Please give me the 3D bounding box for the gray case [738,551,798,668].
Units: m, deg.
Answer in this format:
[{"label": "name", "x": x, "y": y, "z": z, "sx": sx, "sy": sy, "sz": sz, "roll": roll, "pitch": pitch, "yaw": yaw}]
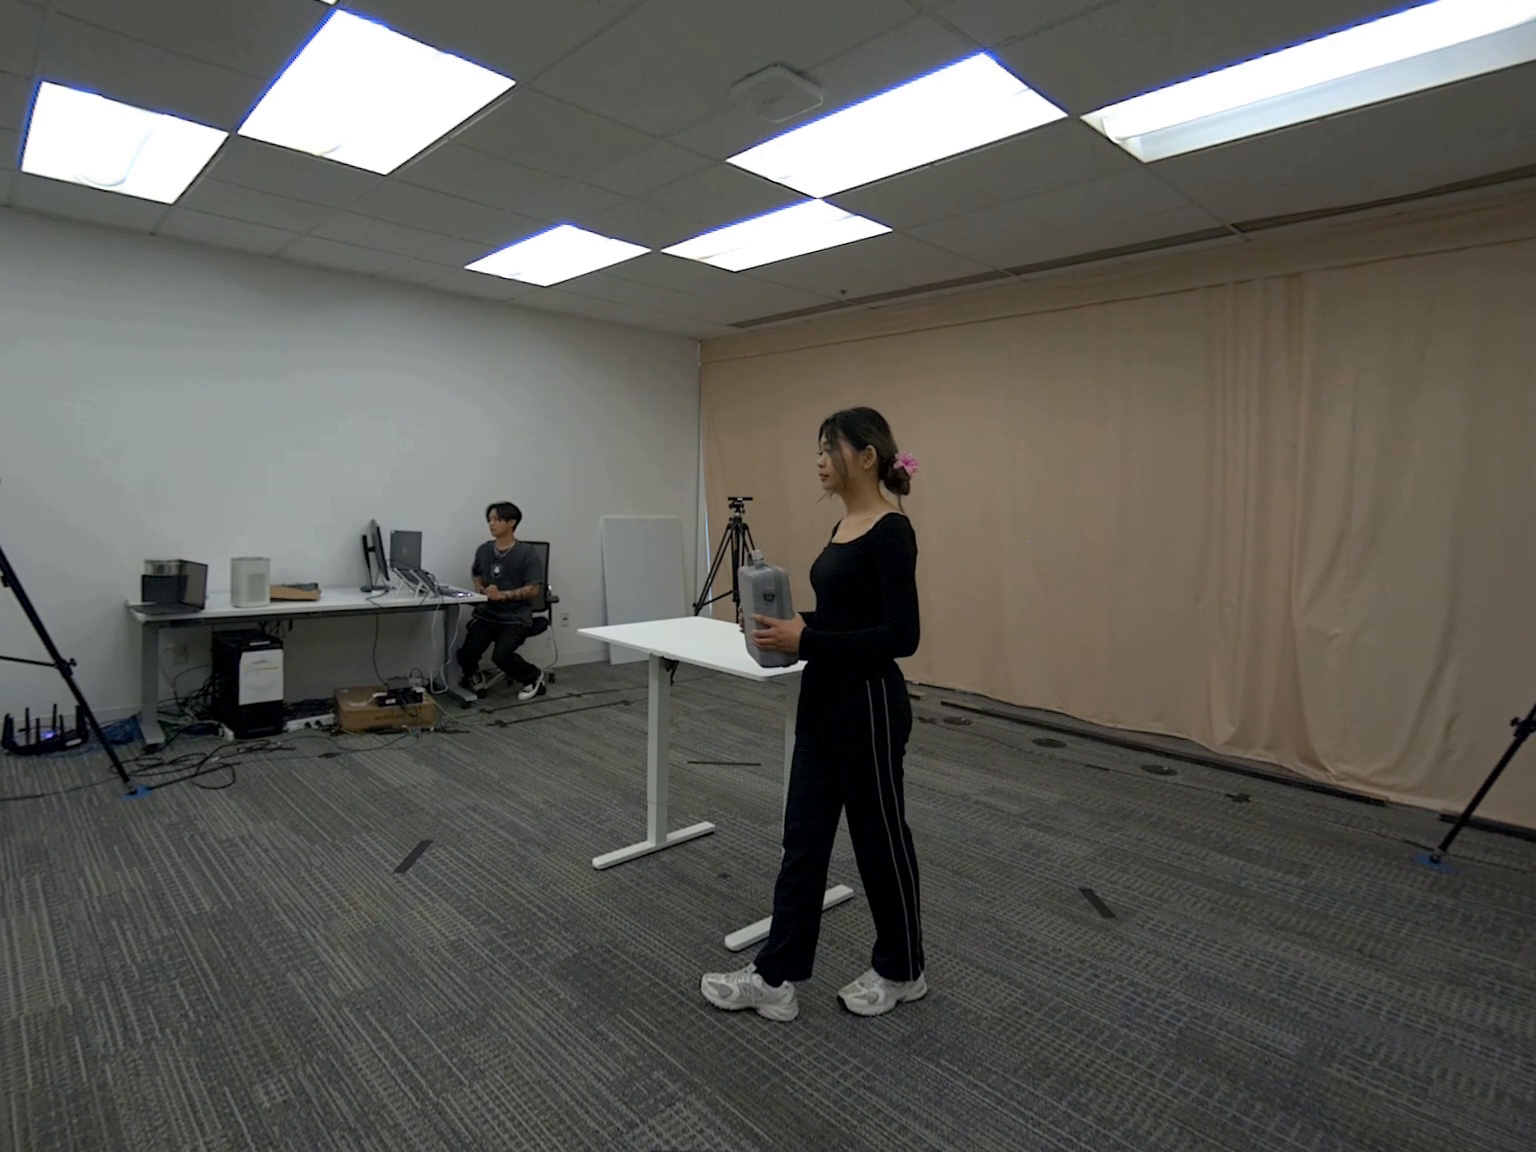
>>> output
[{"label": "gray case", "x": -0.003, "y": 0.096, "z": 2.208, "sx": 0.104, "sy": 0.260, "sz": 0.259, "roll": -8, "pitch": 5, "yaw": -9}]
